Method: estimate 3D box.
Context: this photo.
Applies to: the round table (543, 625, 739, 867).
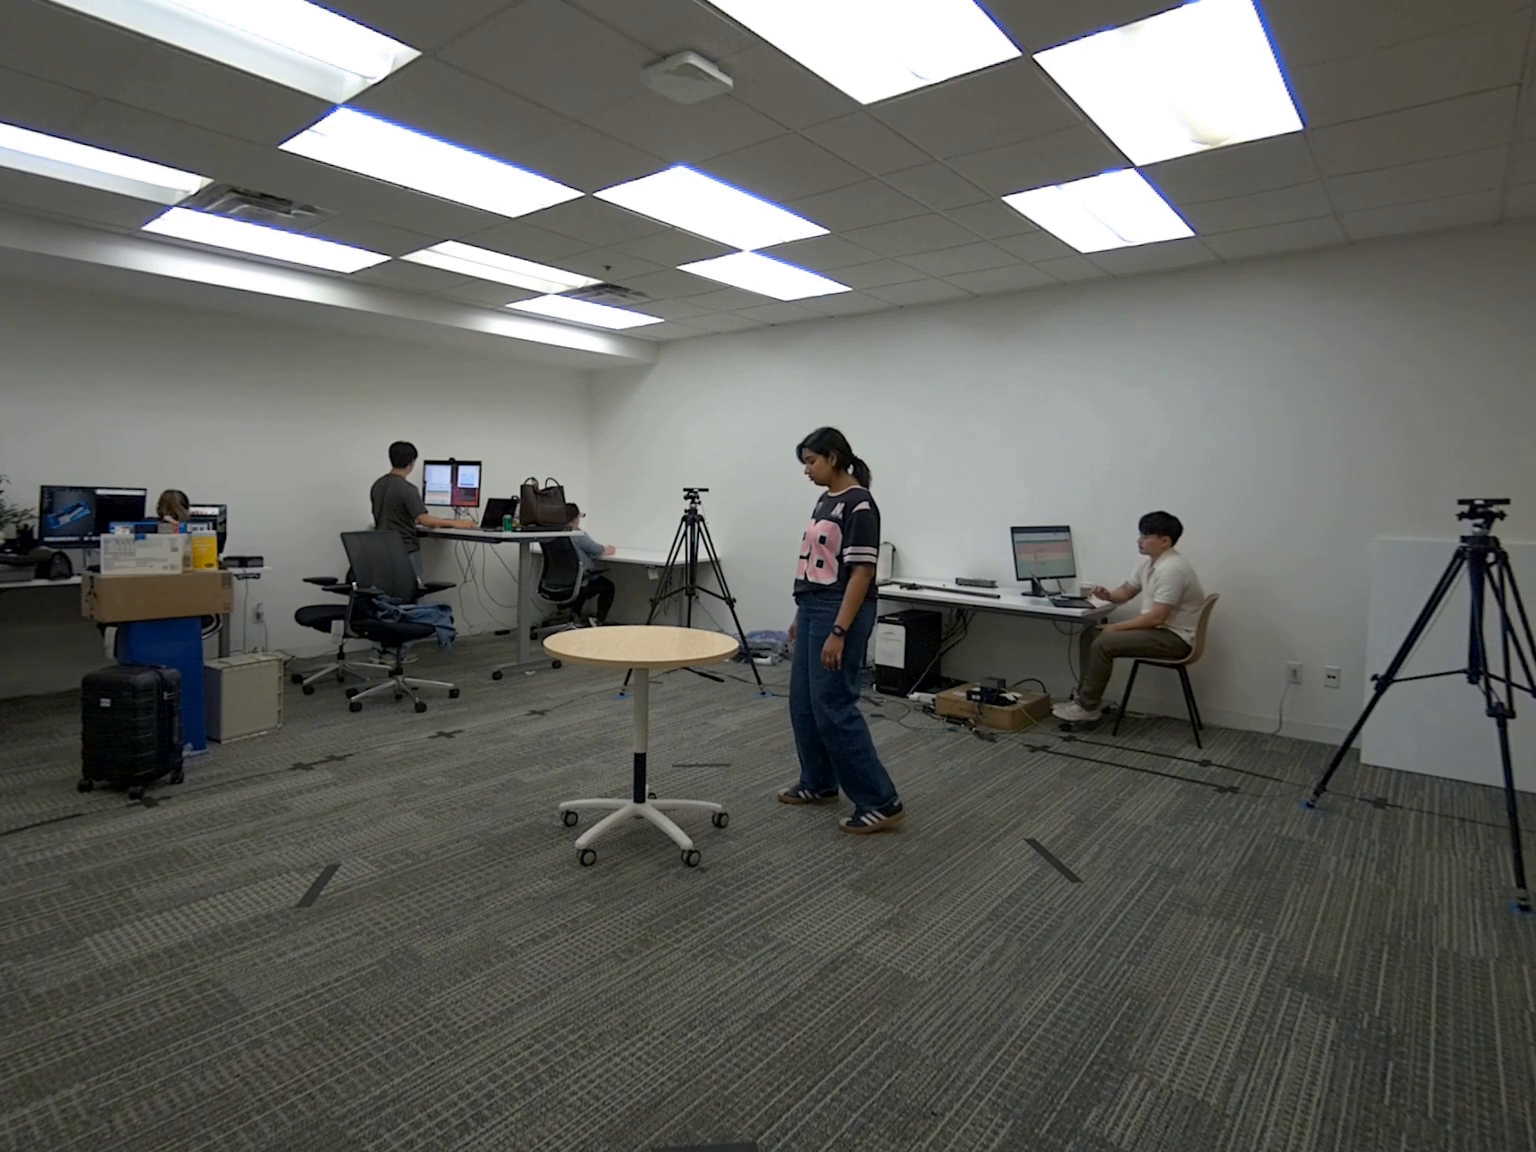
[{"bbox_3d":[-0.514,0.649,3.381,0.763,0.791,0.768,1,4,-2],"label":"round table"}]
